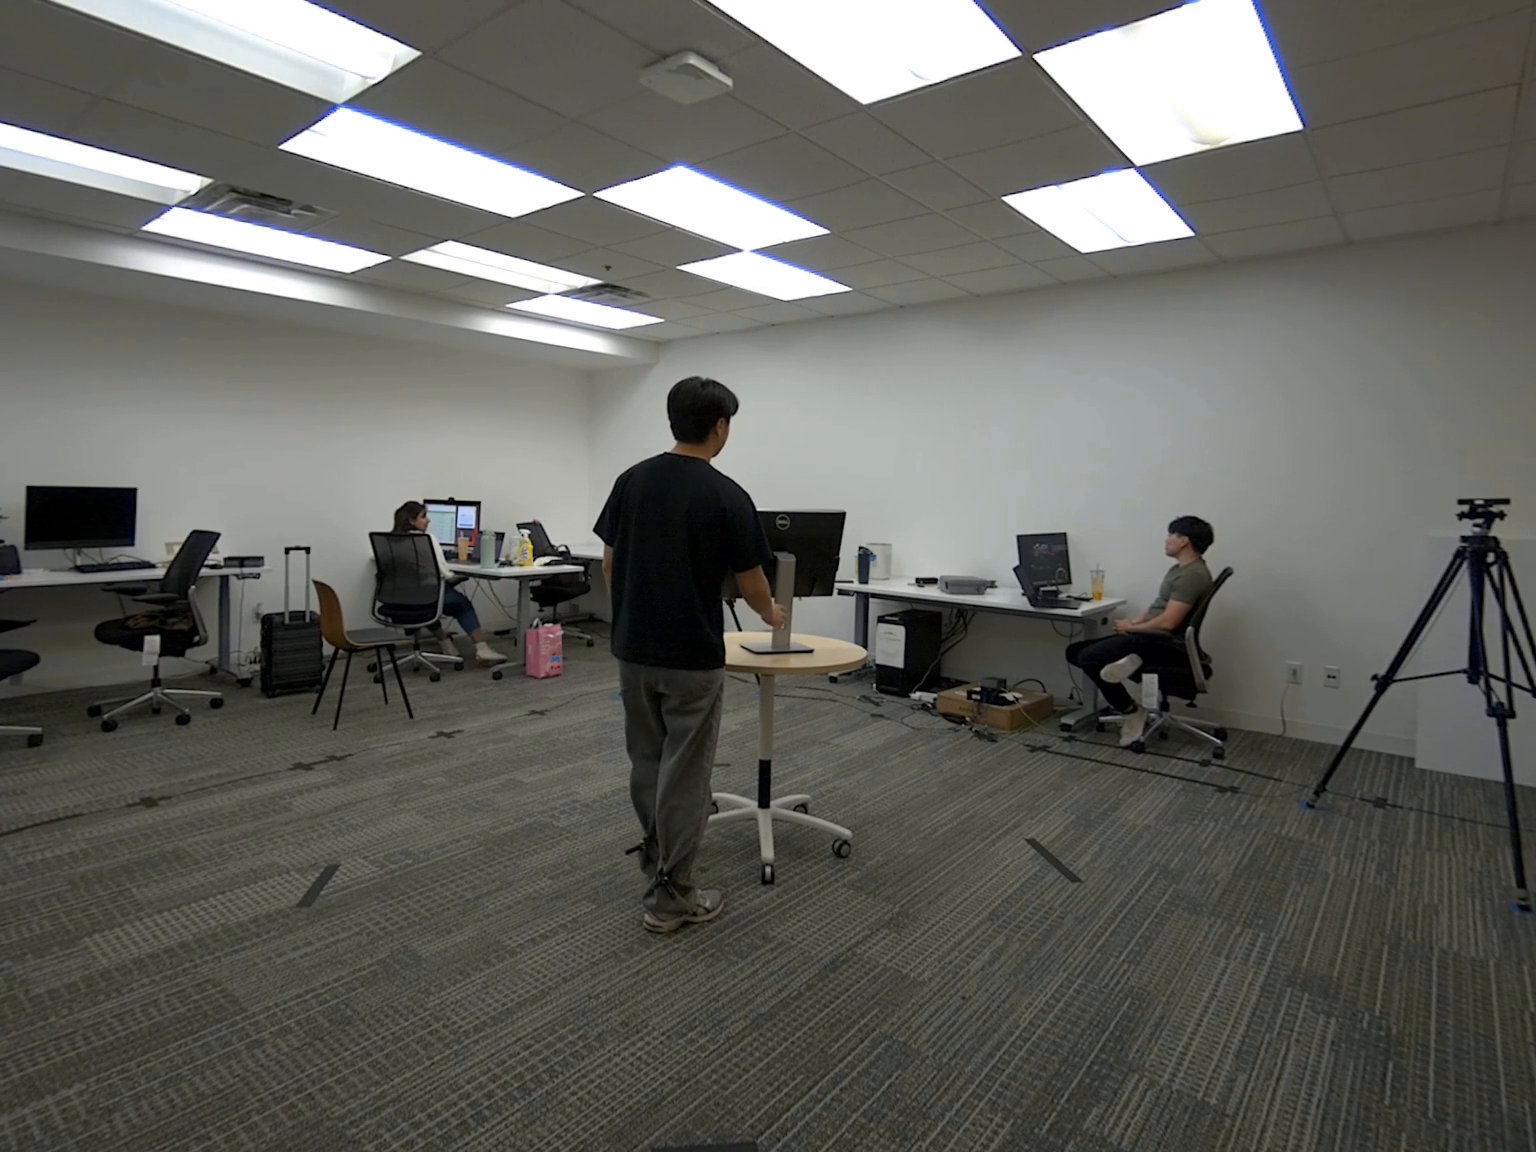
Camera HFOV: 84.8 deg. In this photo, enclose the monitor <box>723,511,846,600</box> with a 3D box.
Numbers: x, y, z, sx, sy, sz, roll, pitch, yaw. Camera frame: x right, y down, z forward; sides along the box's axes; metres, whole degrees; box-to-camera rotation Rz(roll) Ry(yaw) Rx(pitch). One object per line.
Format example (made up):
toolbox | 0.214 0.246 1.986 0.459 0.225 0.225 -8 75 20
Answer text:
monitor | 0.028 0.018 3.295 0.552 0.565 0.226 0 2 -17
